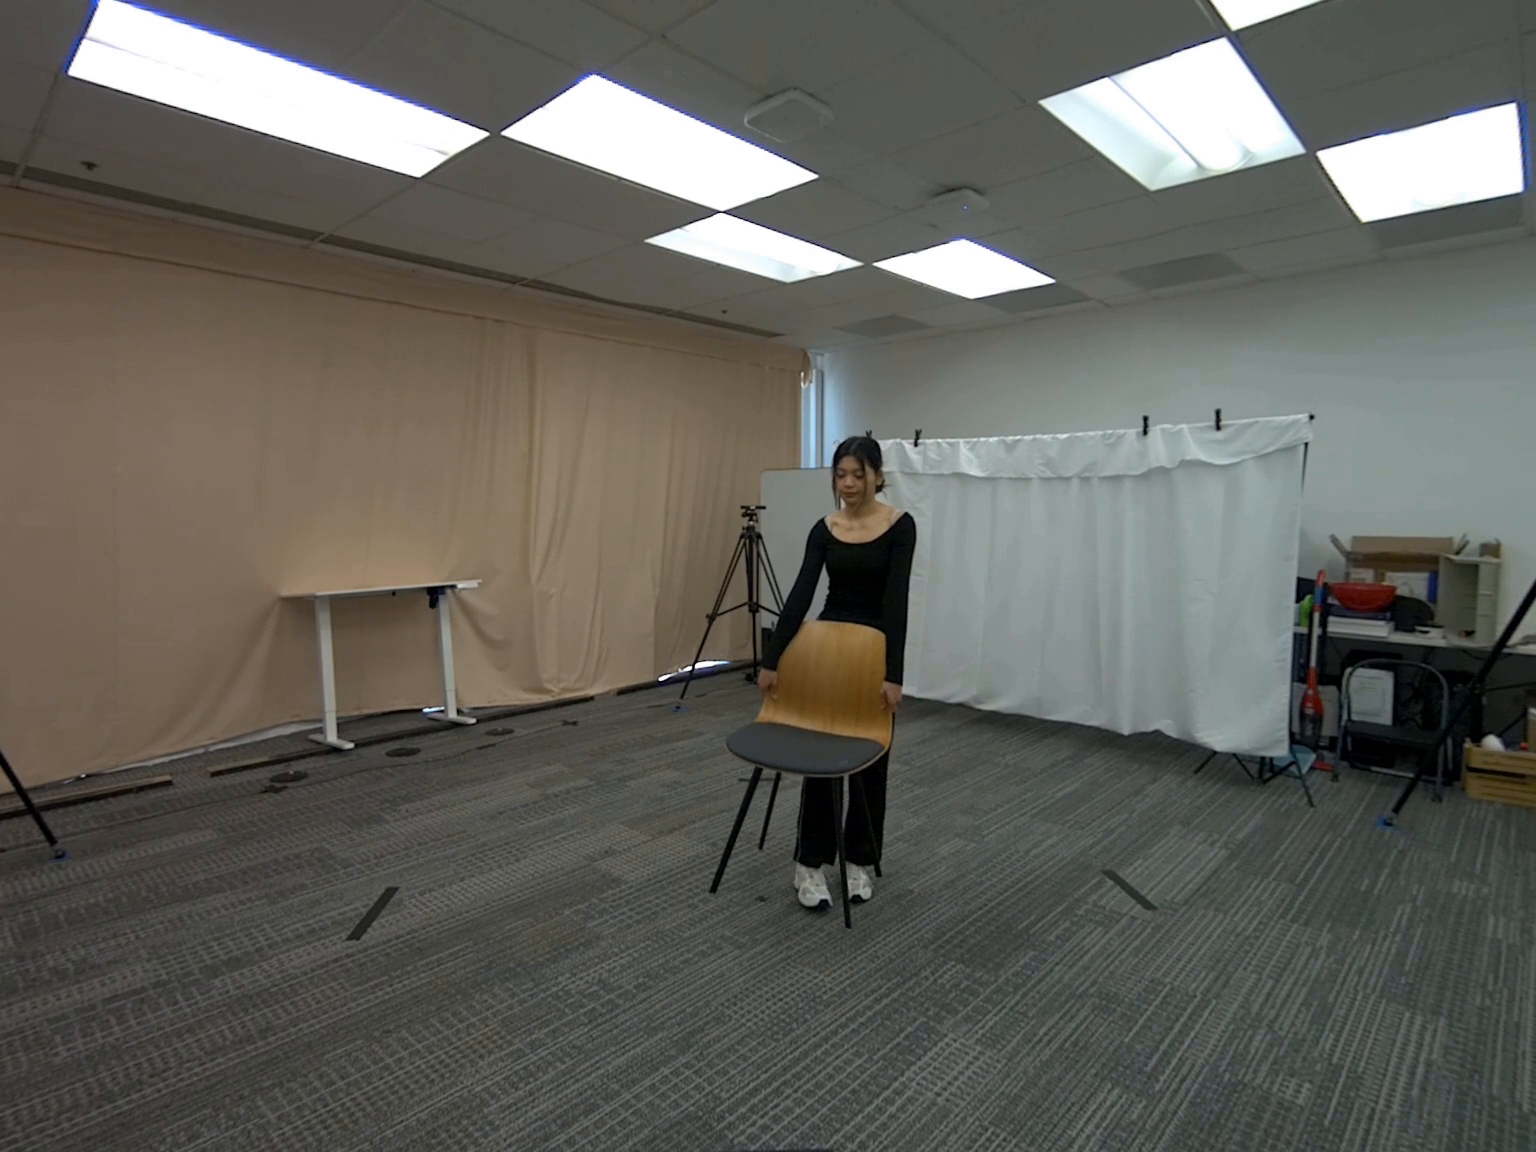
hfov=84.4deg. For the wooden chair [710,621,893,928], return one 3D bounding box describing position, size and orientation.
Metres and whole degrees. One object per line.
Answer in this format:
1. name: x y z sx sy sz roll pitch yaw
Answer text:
1. wooden chair: 0.138 0.588 2.733 0.489 0.878 0.510 6 -3 21
